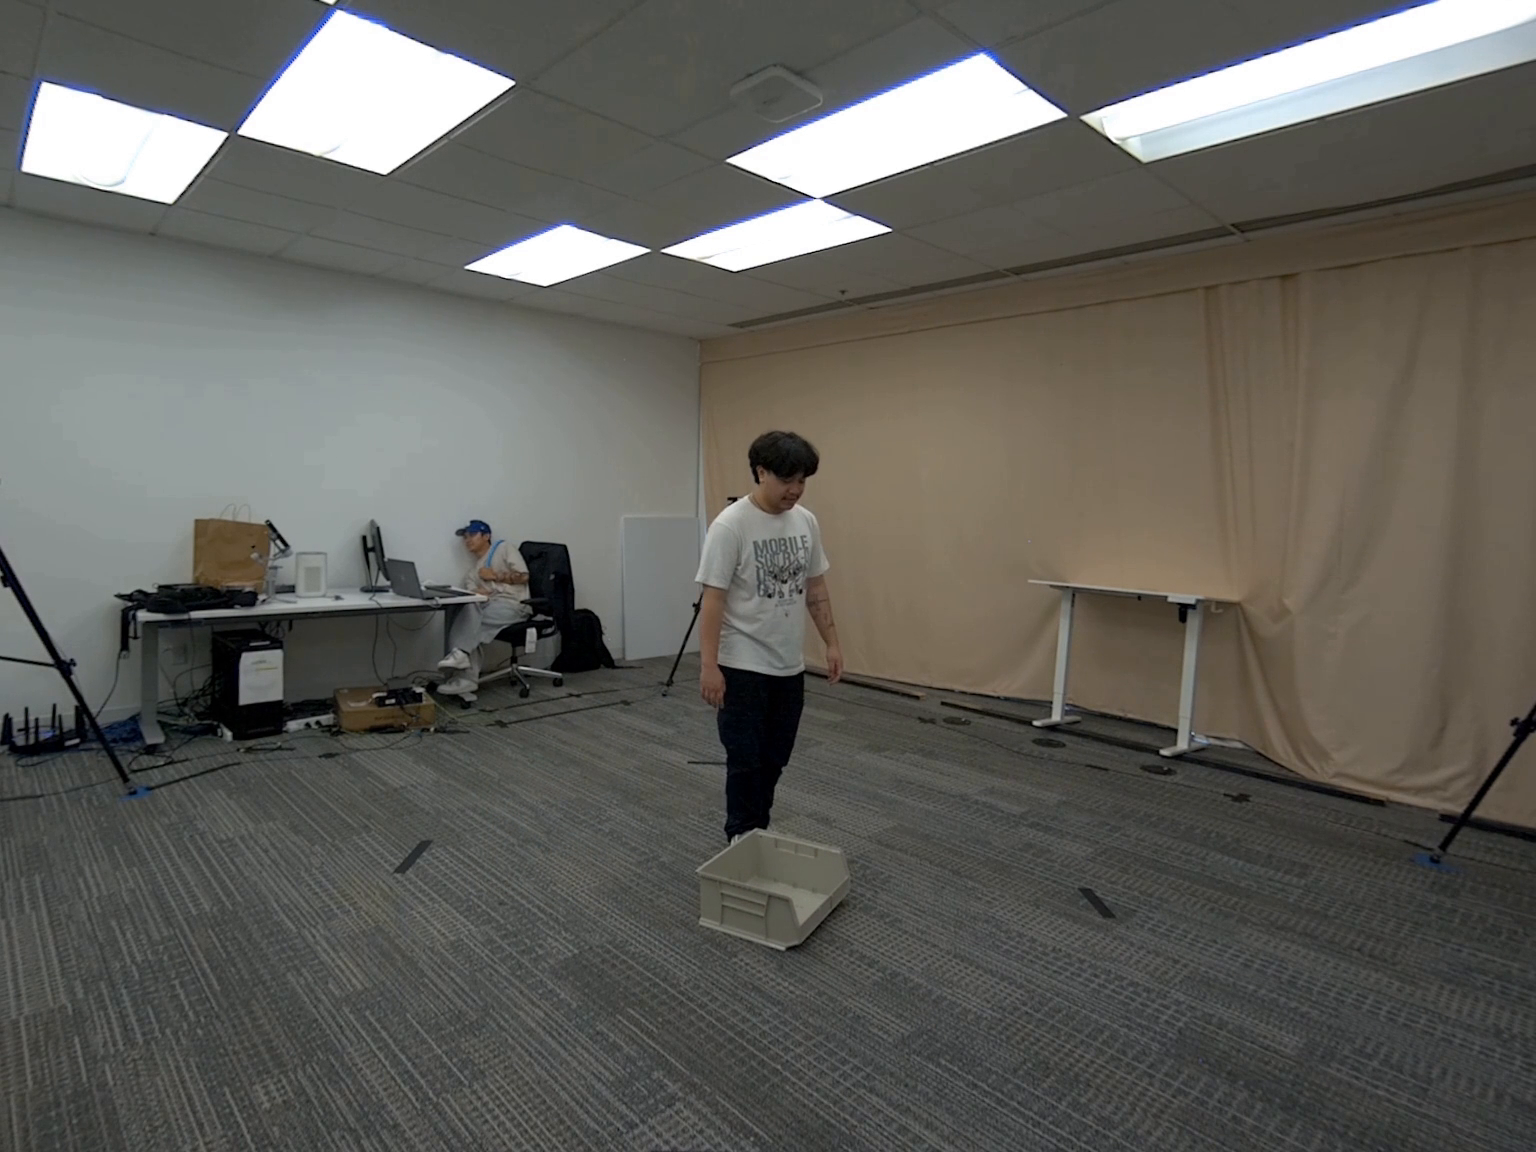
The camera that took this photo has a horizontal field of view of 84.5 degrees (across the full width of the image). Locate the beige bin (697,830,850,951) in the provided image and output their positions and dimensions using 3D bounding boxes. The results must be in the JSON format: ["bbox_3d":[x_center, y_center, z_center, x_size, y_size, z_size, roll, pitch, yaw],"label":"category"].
[{"bbox_3d":[0.018,1.048,2.832,0.385,0.188,0.415,2,5,28],"label":"beige bin"}]
